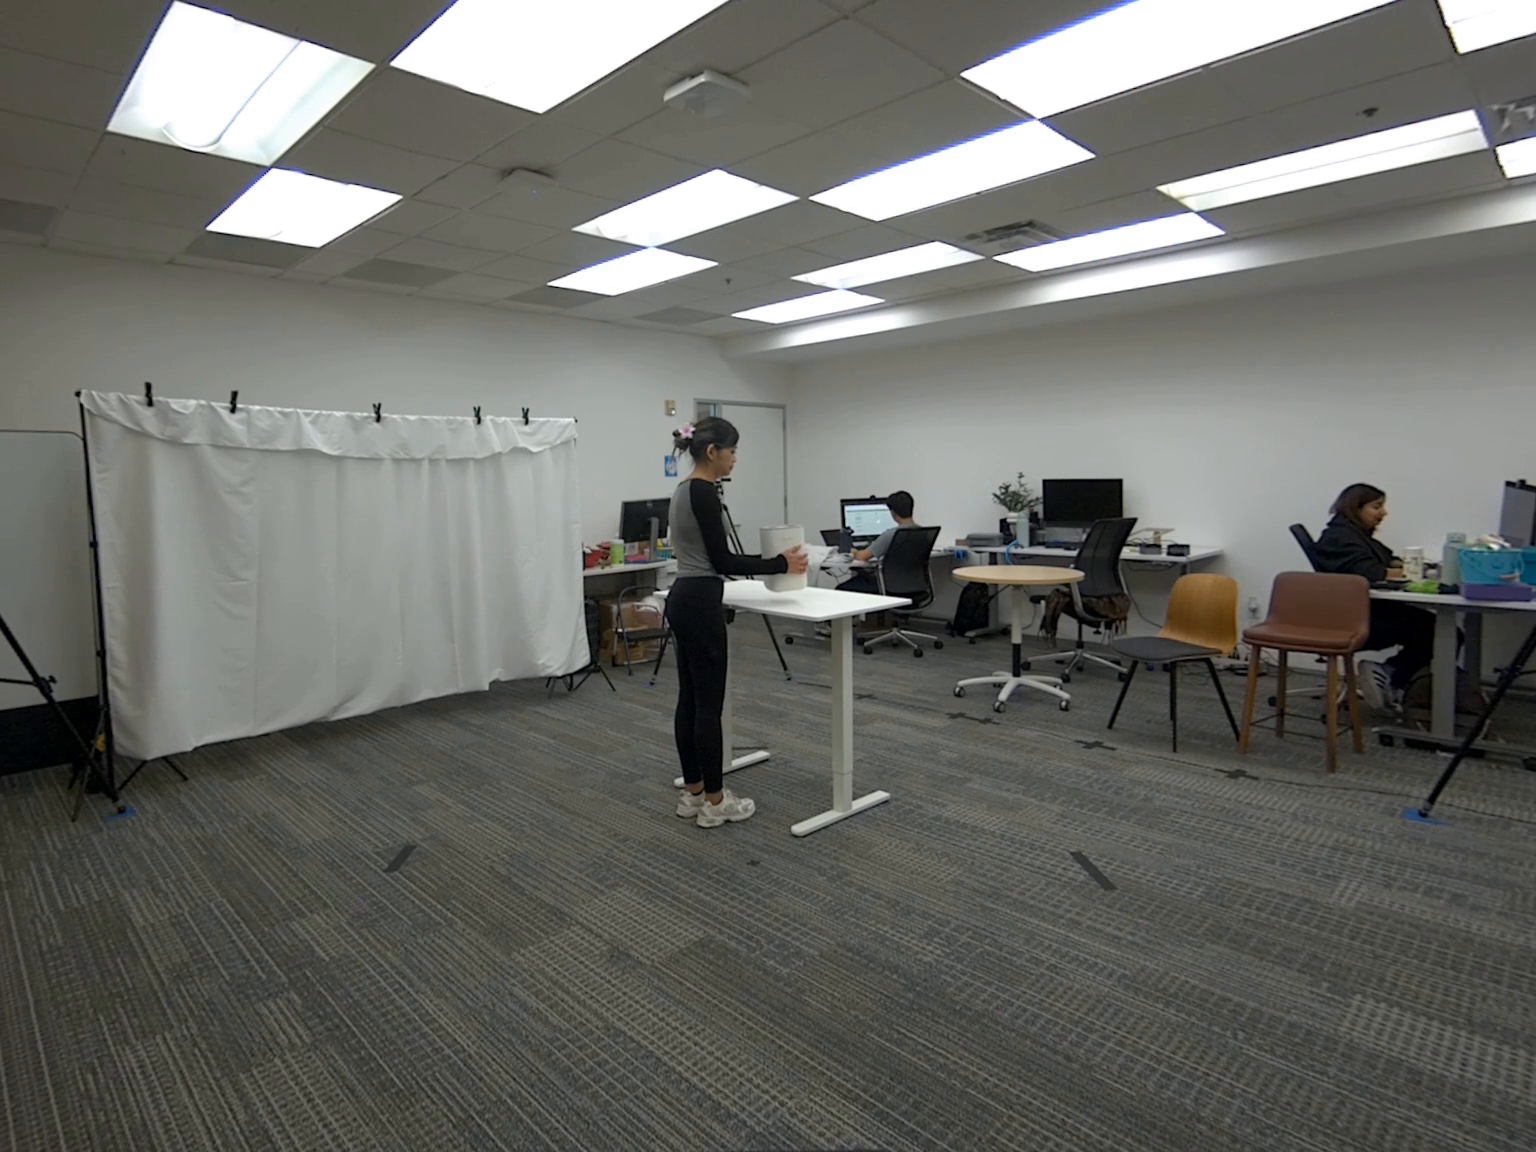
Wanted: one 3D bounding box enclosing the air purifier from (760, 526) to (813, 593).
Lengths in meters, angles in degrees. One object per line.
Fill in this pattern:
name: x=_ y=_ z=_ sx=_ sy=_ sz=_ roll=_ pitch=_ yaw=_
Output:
air purifier: x=0.056 y=-0.072 z=3.560 sx=0.170 sy=0.264 sz=0.174 roll=-5 pitch=5 yaw=-8
